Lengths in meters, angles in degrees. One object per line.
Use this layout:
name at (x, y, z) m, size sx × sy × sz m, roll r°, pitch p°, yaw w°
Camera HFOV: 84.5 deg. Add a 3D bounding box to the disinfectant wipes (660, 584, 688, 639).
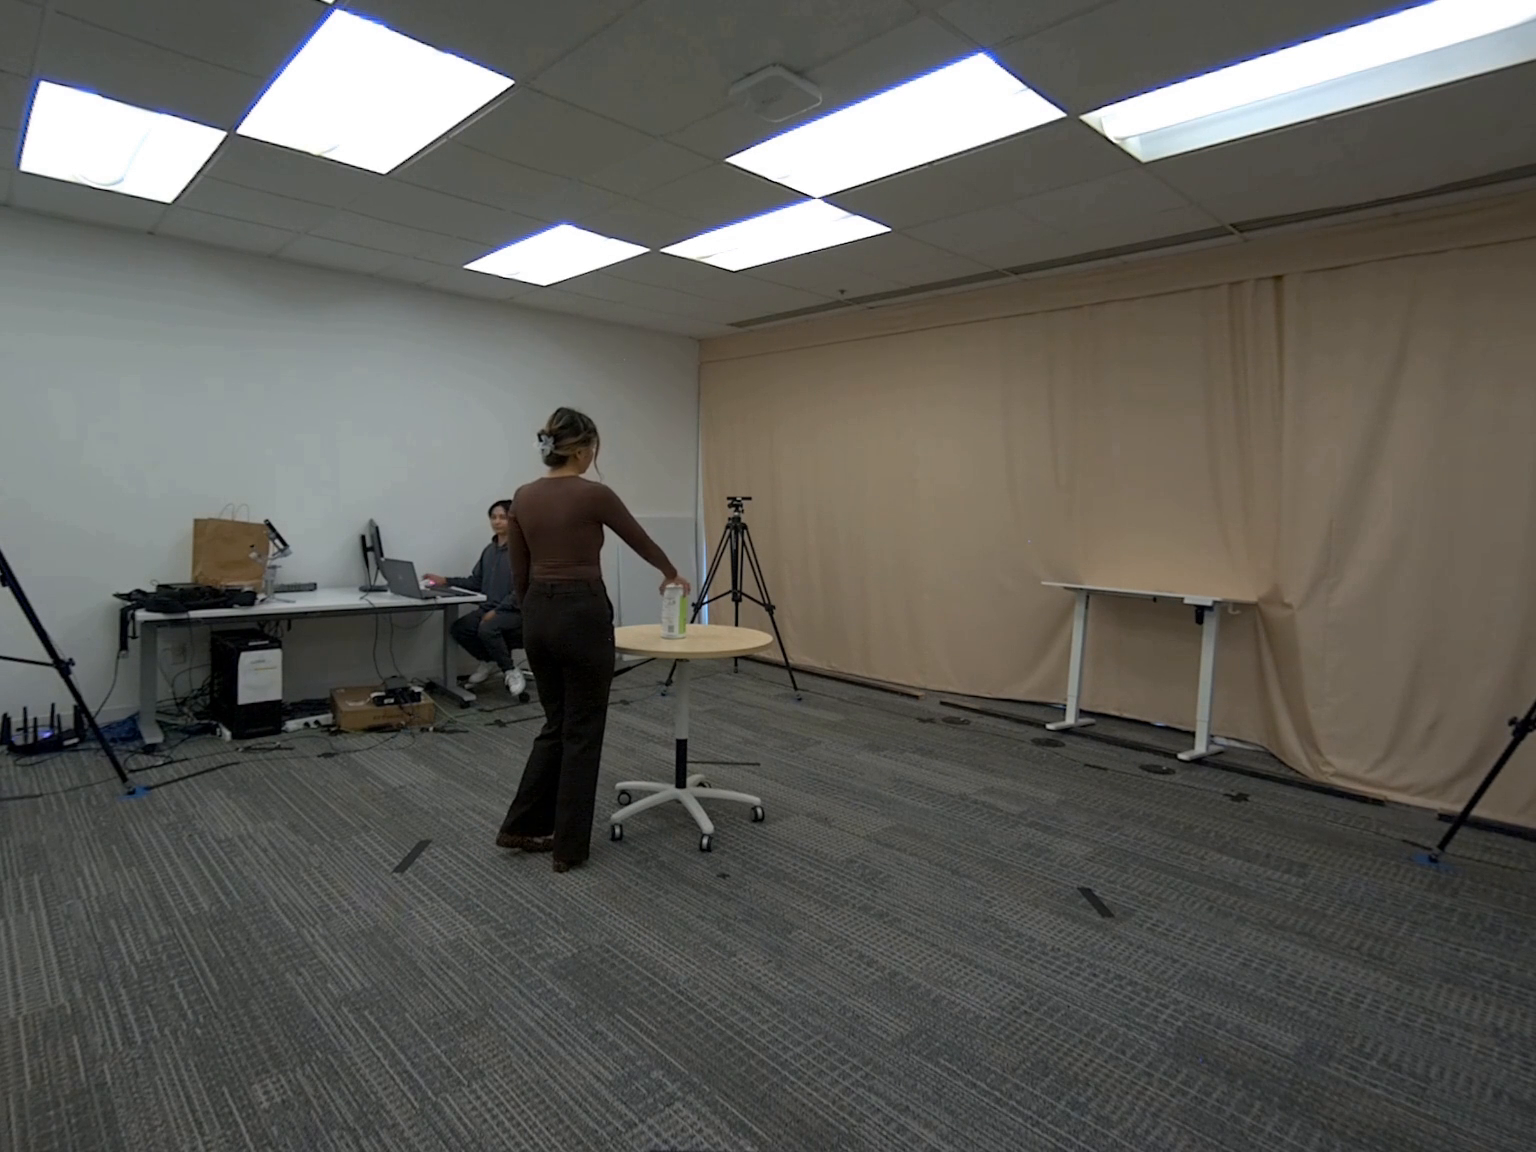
disinfectant wipes at (-0.407, 0.146, 3.568) m, size 0.117 × 0.216 × 0.118 m, roll 5°, pitch 7°, yaw -2°
